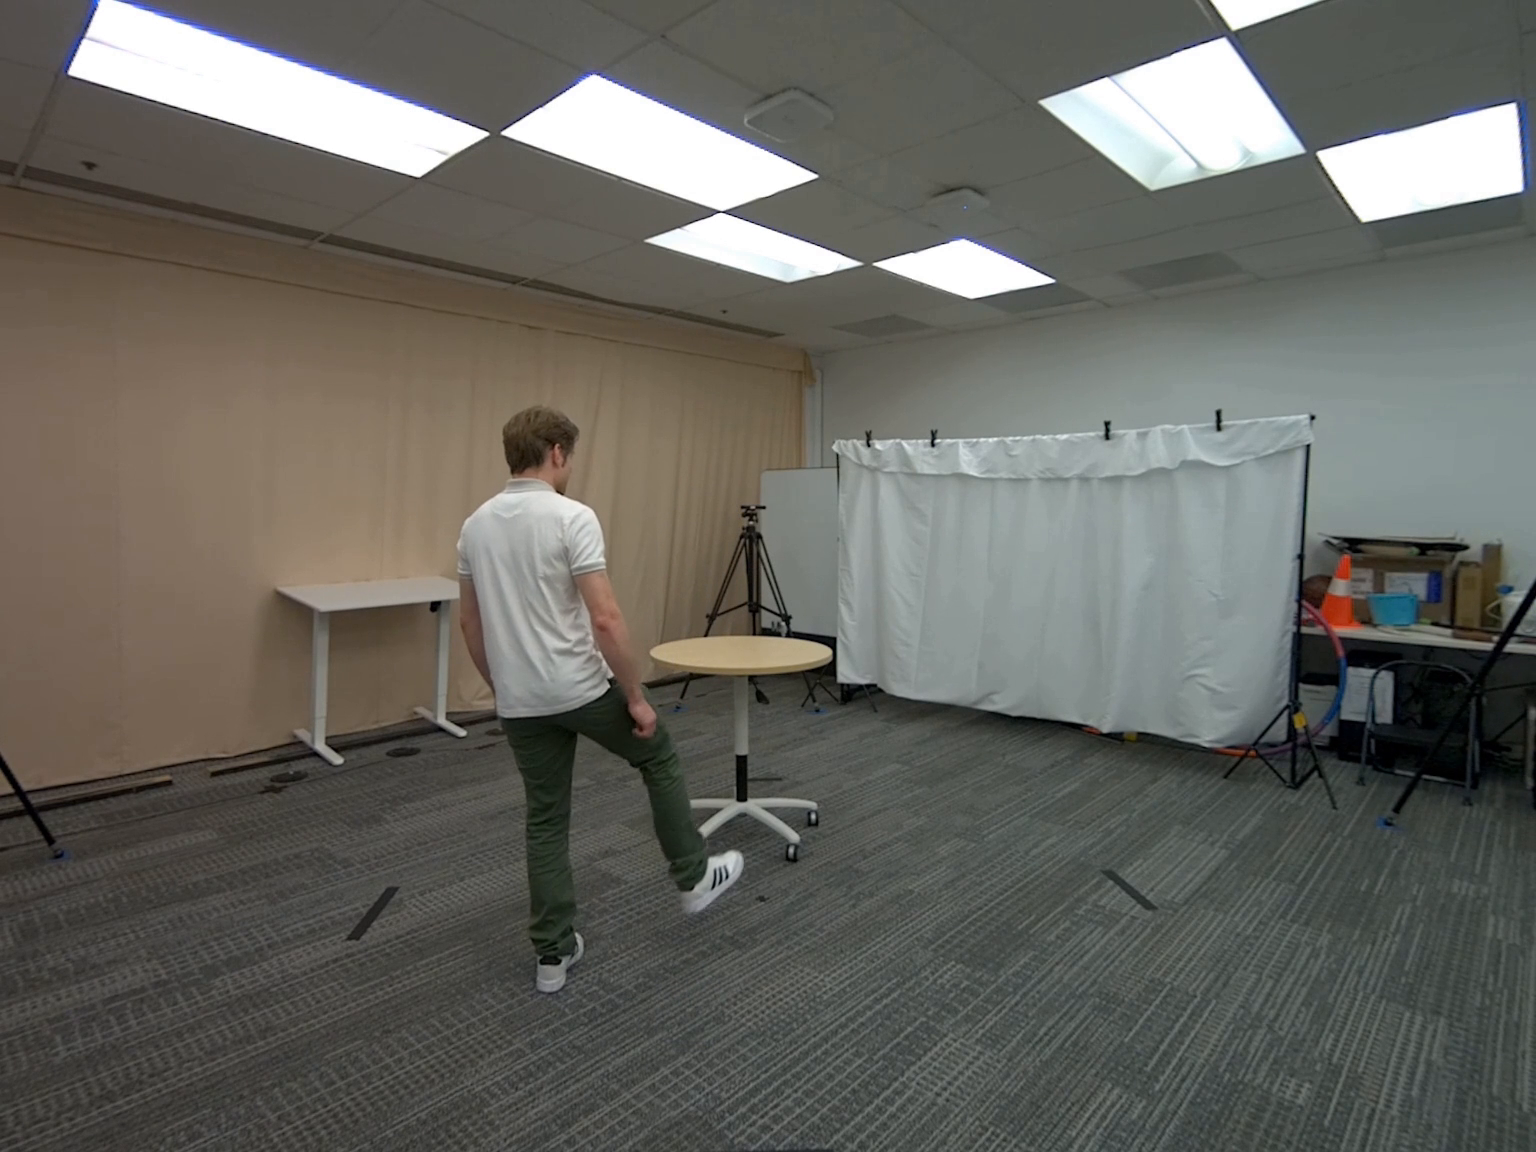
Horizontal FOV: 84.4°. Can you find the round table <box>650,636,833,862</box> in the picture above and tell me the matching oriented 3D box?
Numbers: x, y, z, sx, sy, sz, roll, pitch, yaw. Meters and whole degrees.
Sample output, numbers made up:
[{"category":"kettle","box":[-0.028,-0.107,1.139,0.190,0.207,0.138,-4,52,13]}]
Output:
[{"category":"round table","box":[-0.106,0.708,3.565,0.763,0.792,0.766,0,4,-2]}]
